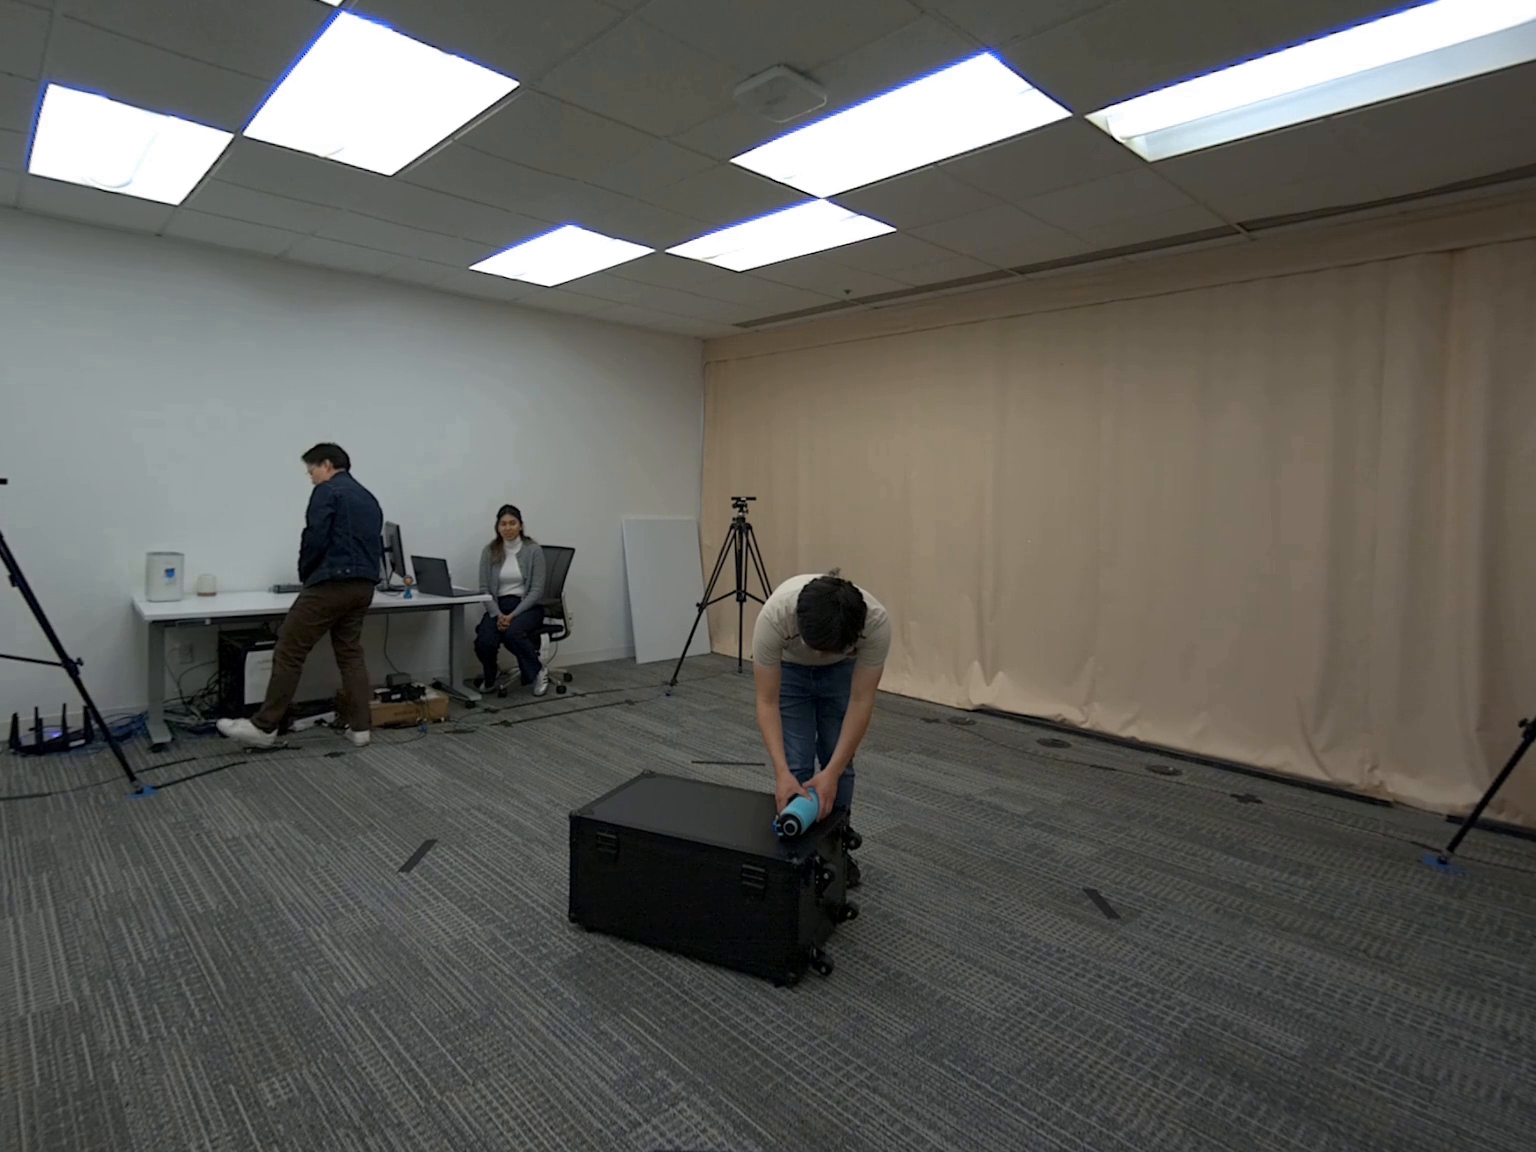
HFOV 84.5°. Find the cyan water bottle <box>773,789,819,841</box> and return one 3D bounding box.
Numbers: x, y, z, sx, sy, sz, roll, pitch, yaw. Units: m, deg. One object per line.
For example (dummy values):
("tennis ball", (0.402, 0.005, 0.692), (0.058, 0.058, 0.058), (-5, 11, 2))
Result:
("cyan water bottle", (0.087, 0.741, 2.606), (0.094, 0.092, 0.280), (3, 5, 18))
